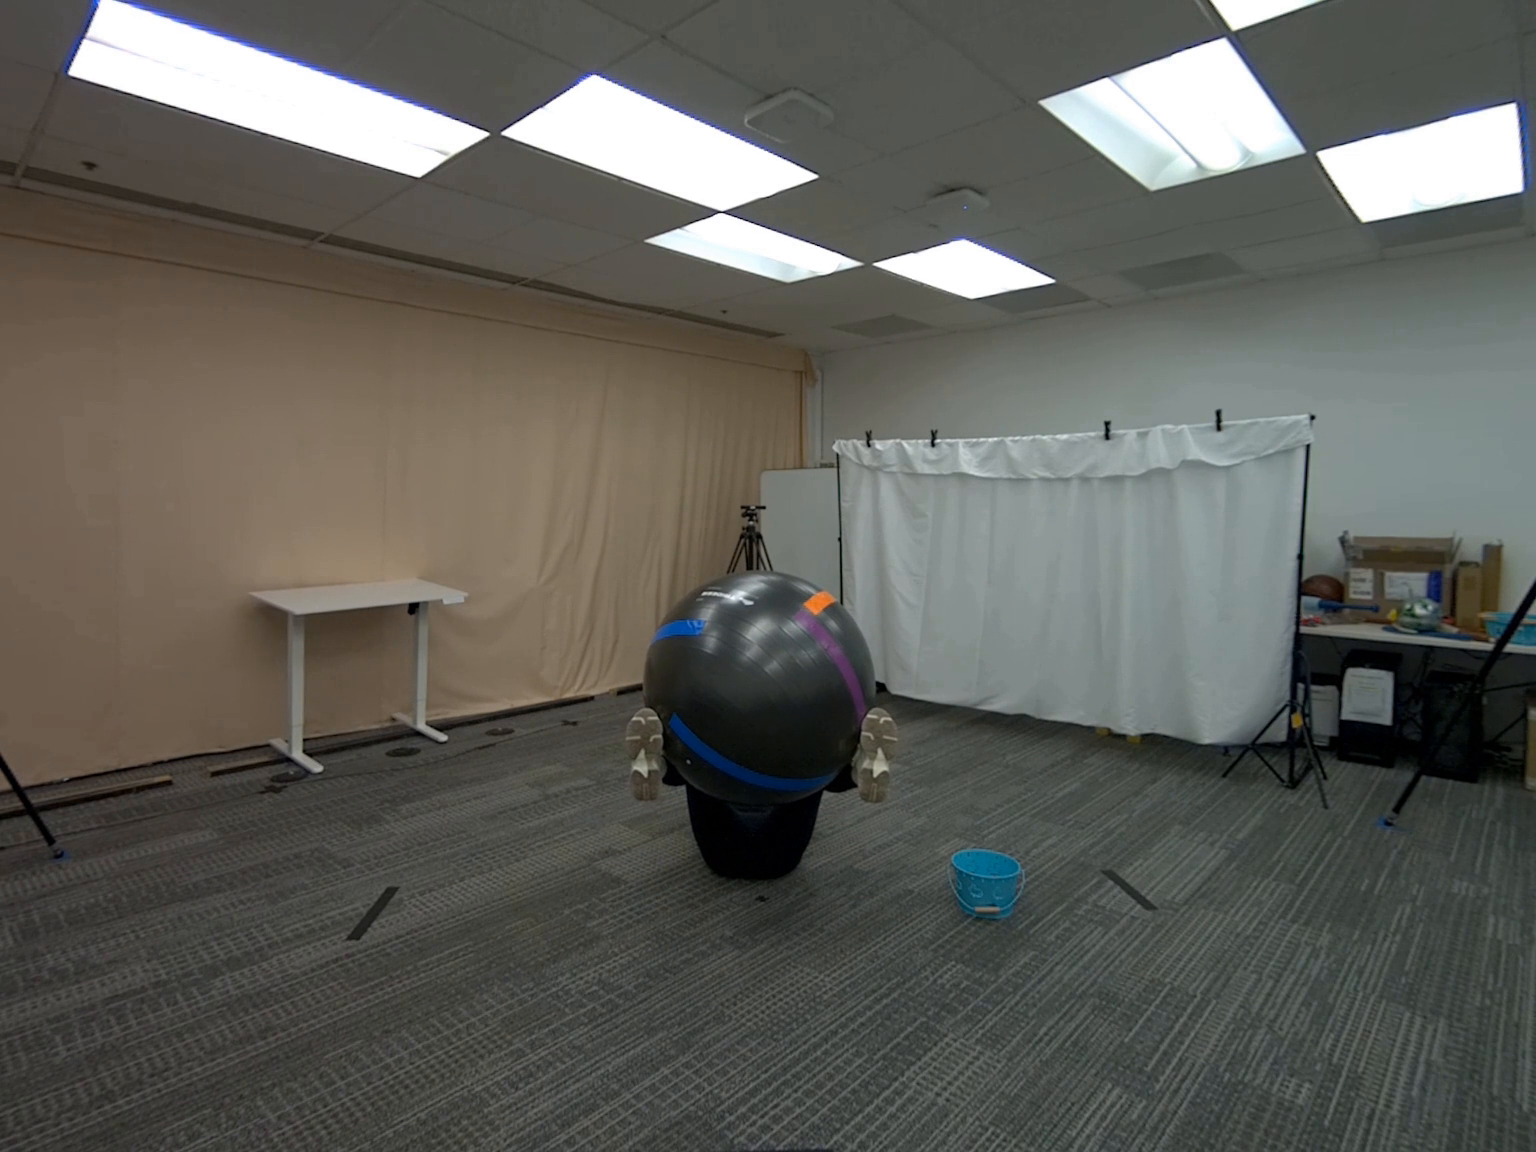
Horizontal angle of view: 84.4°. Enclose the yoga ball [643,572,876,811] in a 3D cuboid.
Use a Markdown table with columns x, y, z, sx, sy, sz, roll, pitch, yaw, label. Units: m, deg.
| x | y | z | sx | sy | sz | roll | pitch | yaw | label |
| --- | --- | --- | --- | --- | --- | --- | --- | --- | --- |
| -0.036 | 0.363 | 2.757 | 0.757 | 0.756 | 0.760 | 0 | 4 | -2 | yoga ball |
